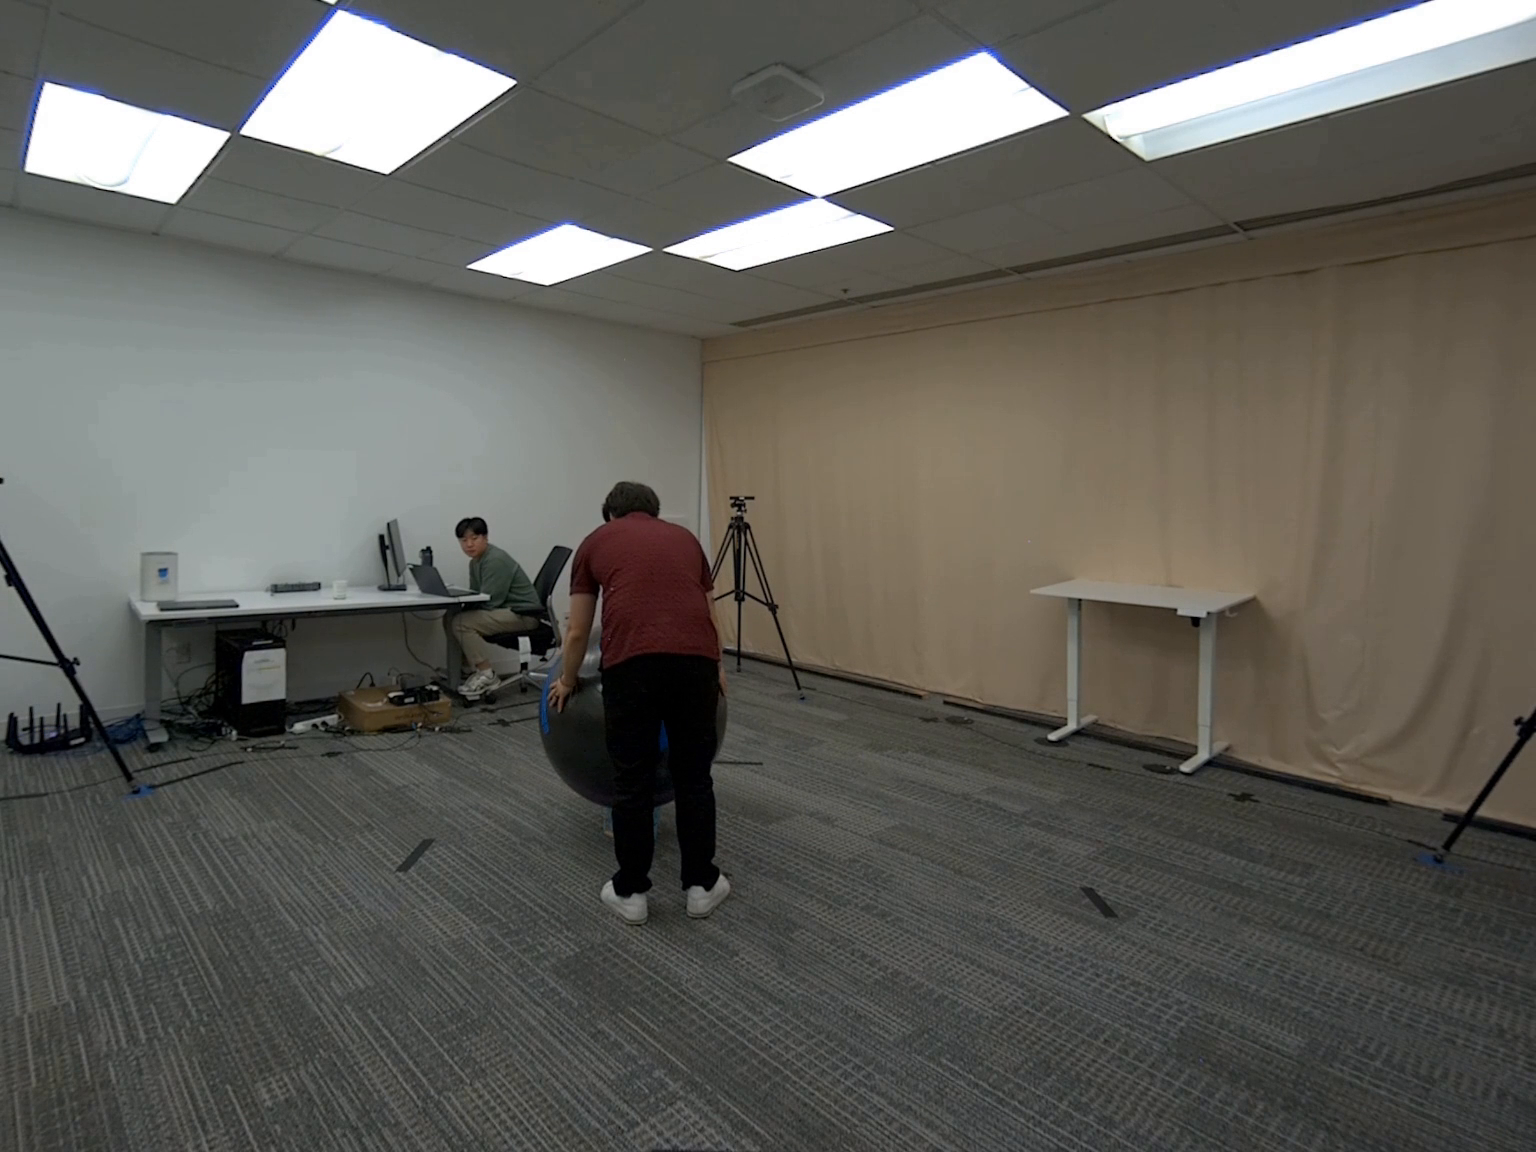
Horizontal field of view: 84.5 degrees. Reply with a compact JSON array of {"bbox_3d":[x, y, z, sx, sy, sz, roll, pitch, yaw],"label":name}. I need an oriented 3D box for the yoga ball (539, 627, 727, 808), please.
[{"bbox_3d":[-0.548,0.562,3.419,0.757,0.756,0.761,1,4,-1],"label":"yoga ball"}]
